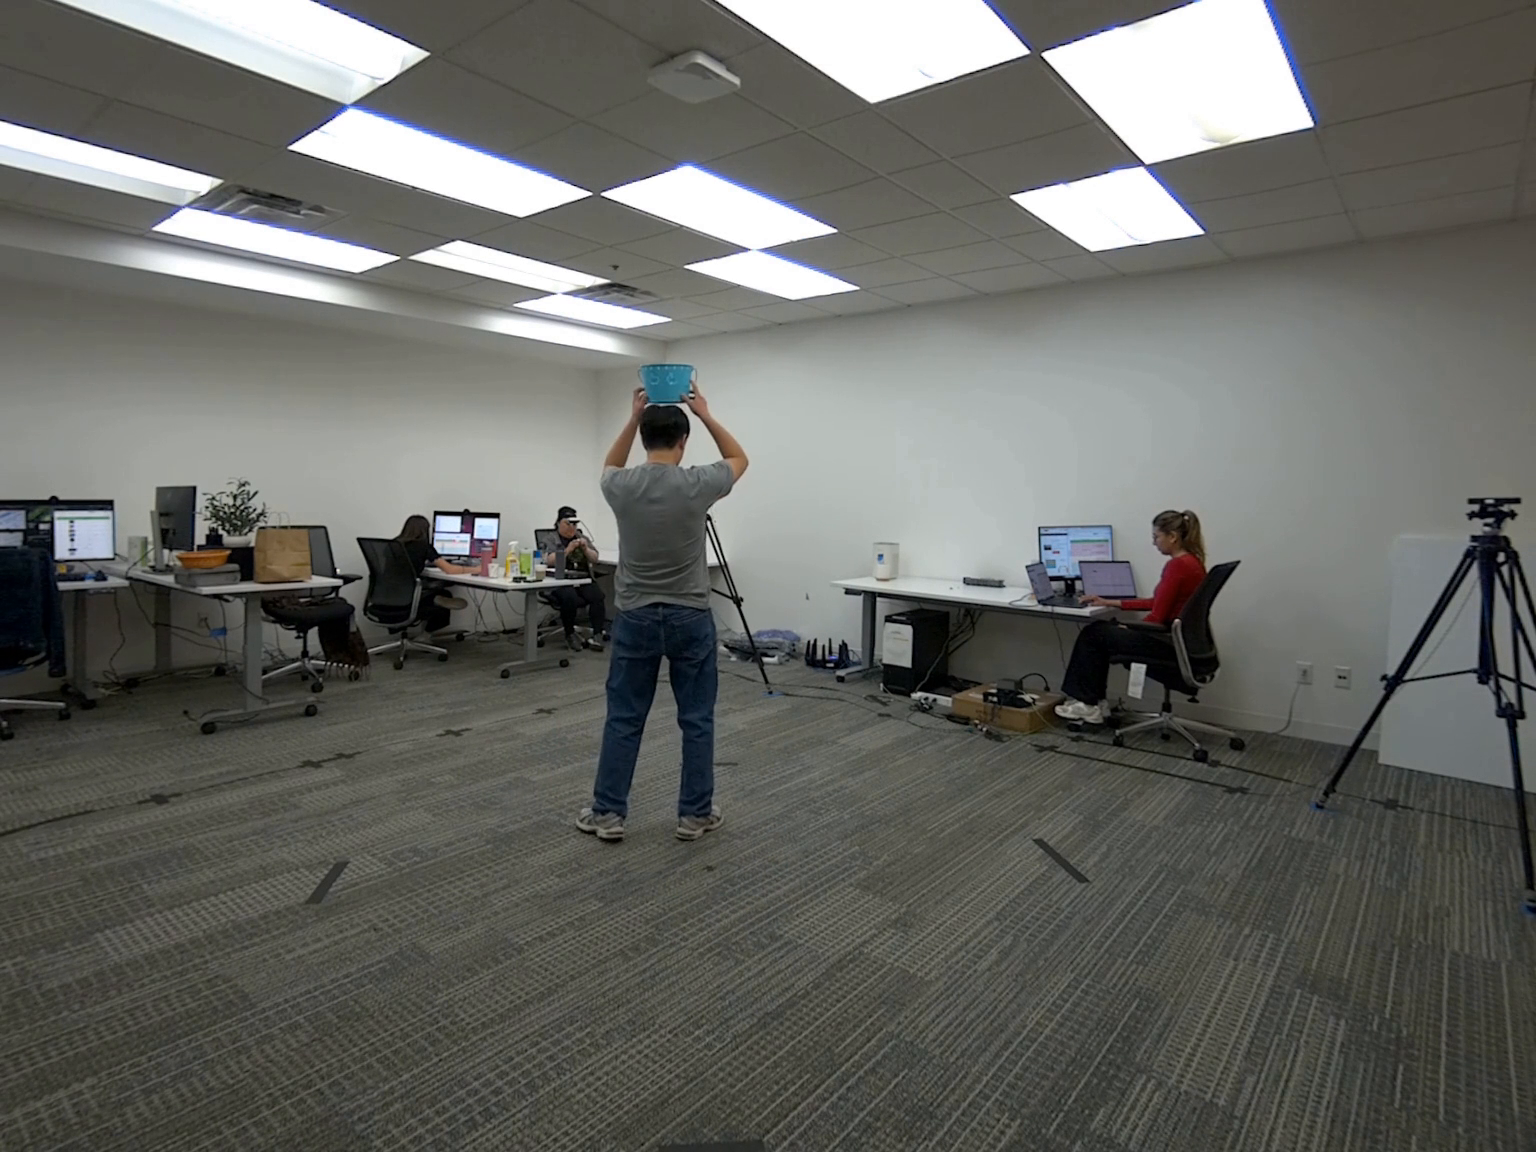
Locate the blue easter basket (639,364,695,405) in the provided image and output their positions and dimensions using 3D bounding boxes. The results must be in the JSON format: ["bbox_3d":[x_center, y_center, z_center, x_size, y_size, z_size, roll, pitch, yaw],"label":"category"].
[{"bbox_3d":[-0.445,-0.797,3.612,0.243,0.155,0.245,-1,7,-2],"label":"blue easter basket"}]
